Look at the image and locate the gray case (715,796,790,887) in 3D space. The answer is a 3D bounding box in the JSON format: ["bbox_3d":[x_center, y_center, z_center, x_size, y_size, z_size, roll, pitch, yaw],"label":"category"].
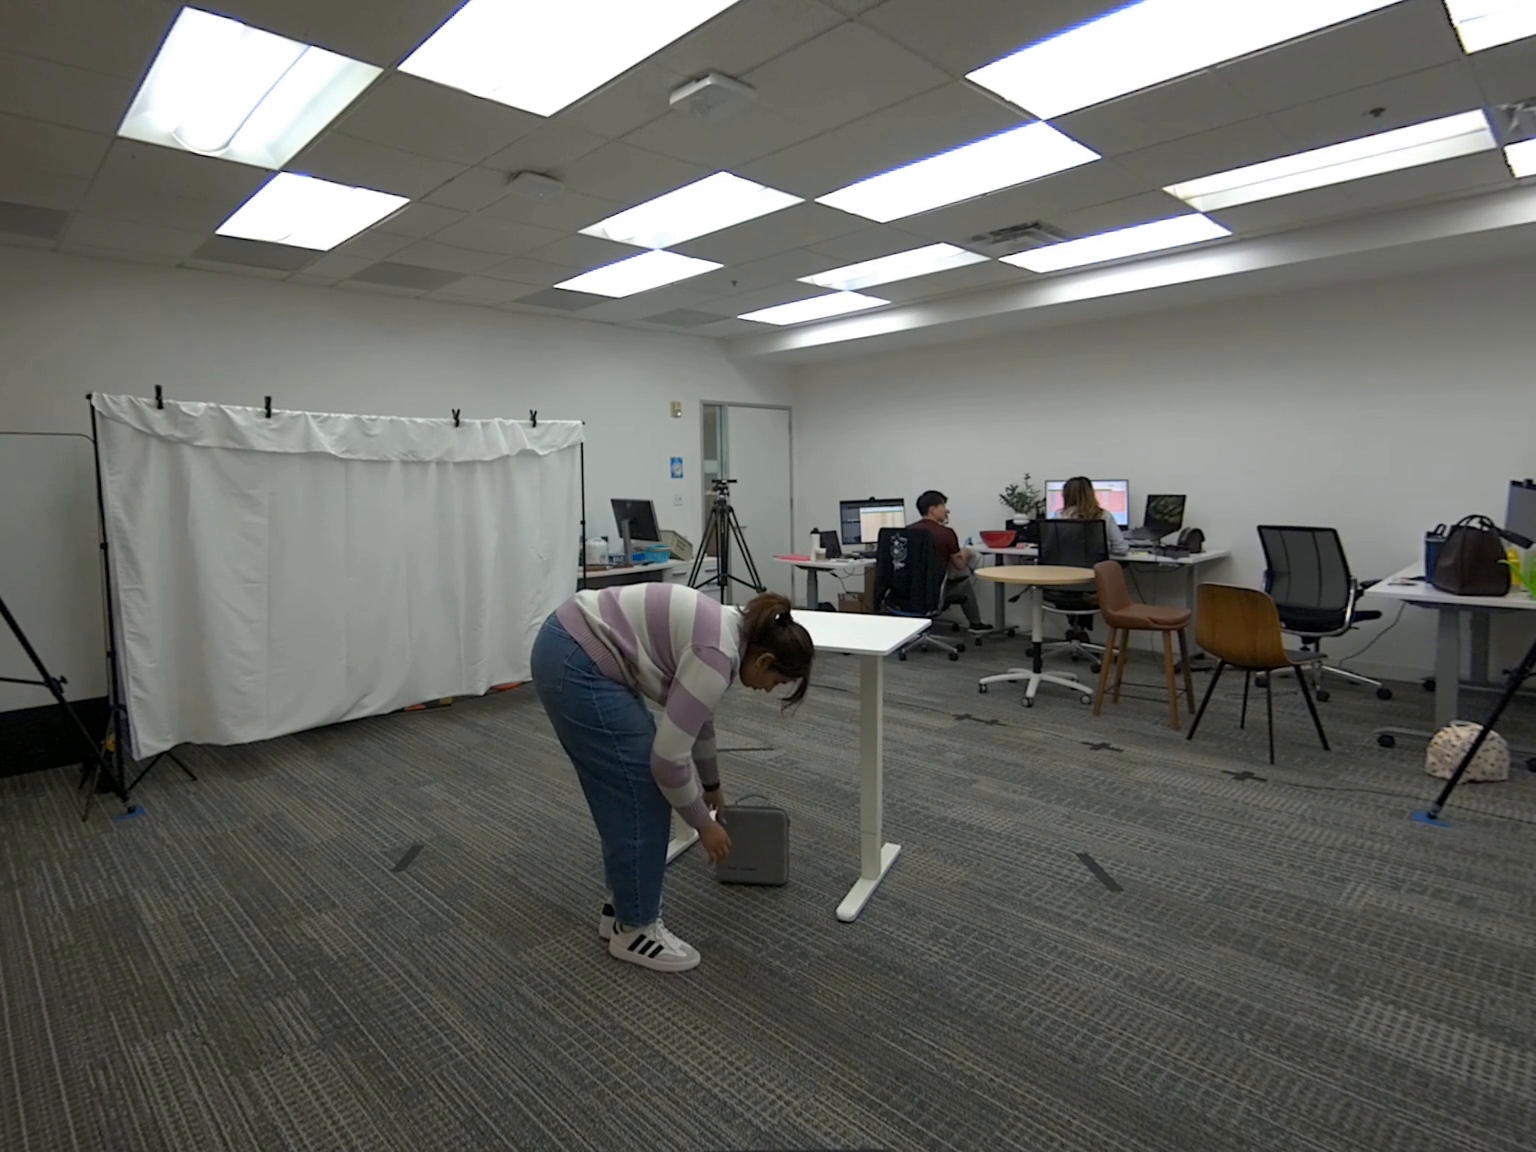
[{"bbox_3d":[-0.065,0.931,2.988,0.259,0.261,0.103,0,-4,8],"label":"gray case"}]
